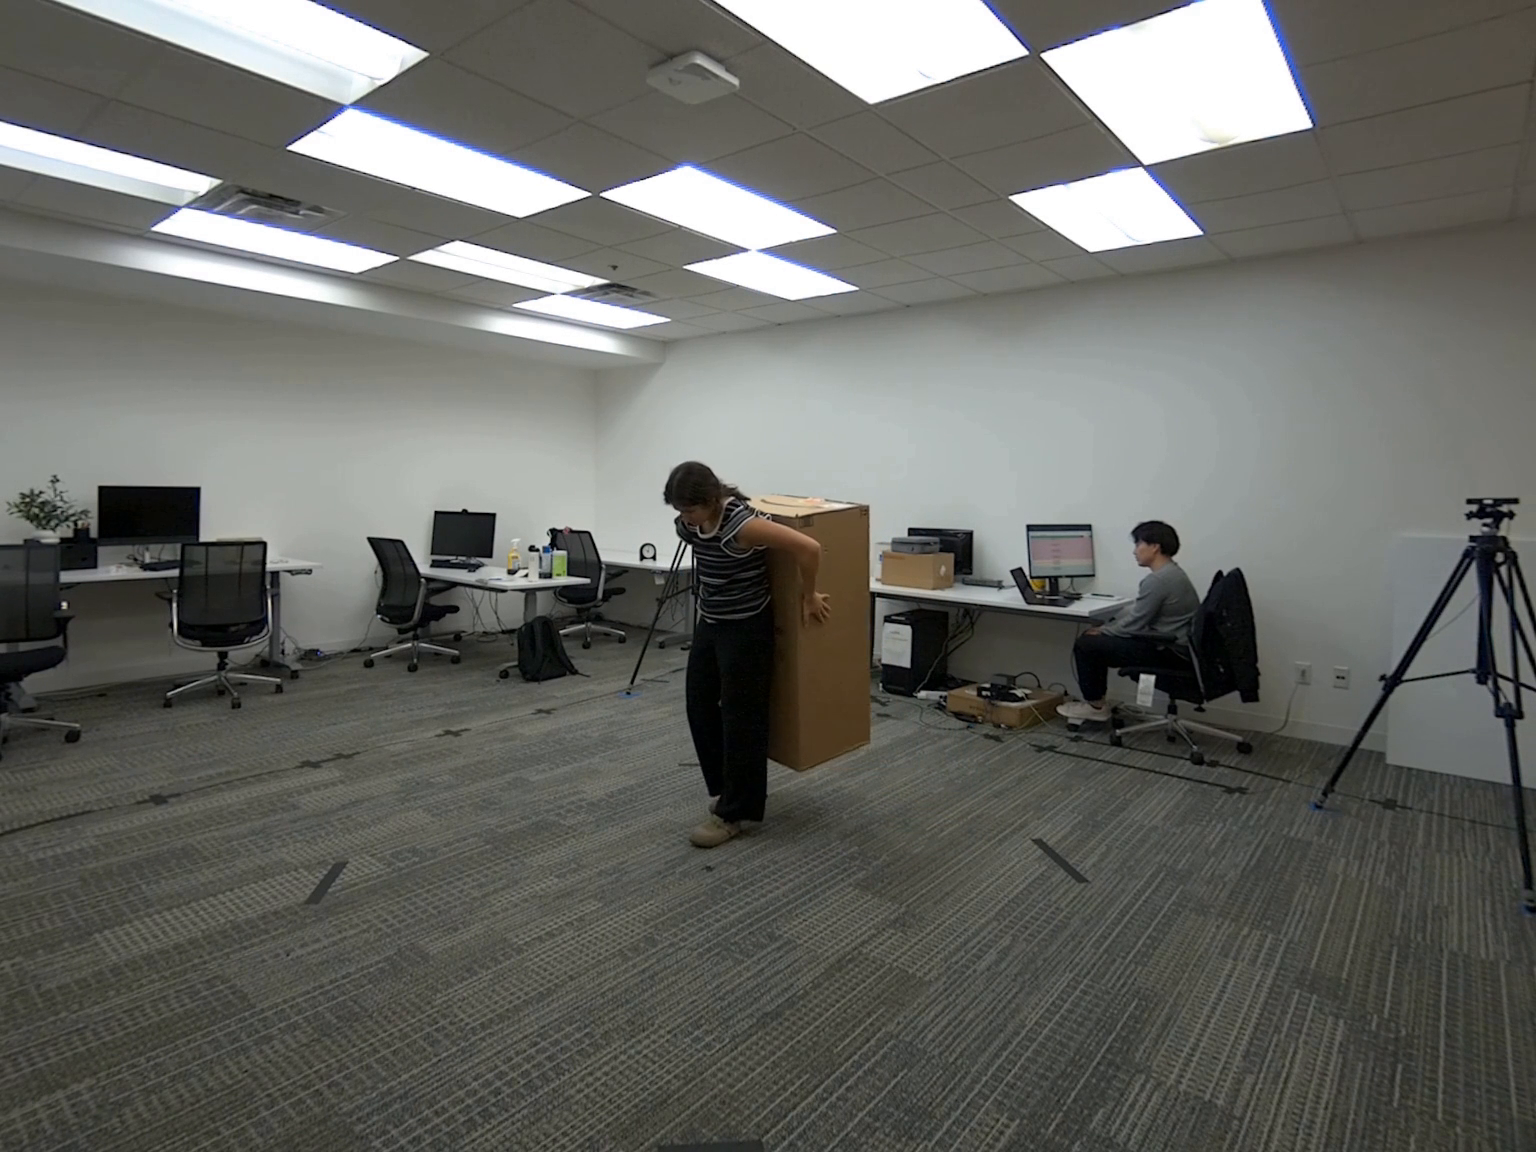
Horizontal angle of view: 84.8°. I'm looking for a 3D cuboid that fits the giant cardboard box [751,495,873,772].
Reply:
[{"bbox_3d":[0.072,0.201,3.621,0.415,1.016,0.598,-9,13,-41],"label":"giant cardboard box"}]
